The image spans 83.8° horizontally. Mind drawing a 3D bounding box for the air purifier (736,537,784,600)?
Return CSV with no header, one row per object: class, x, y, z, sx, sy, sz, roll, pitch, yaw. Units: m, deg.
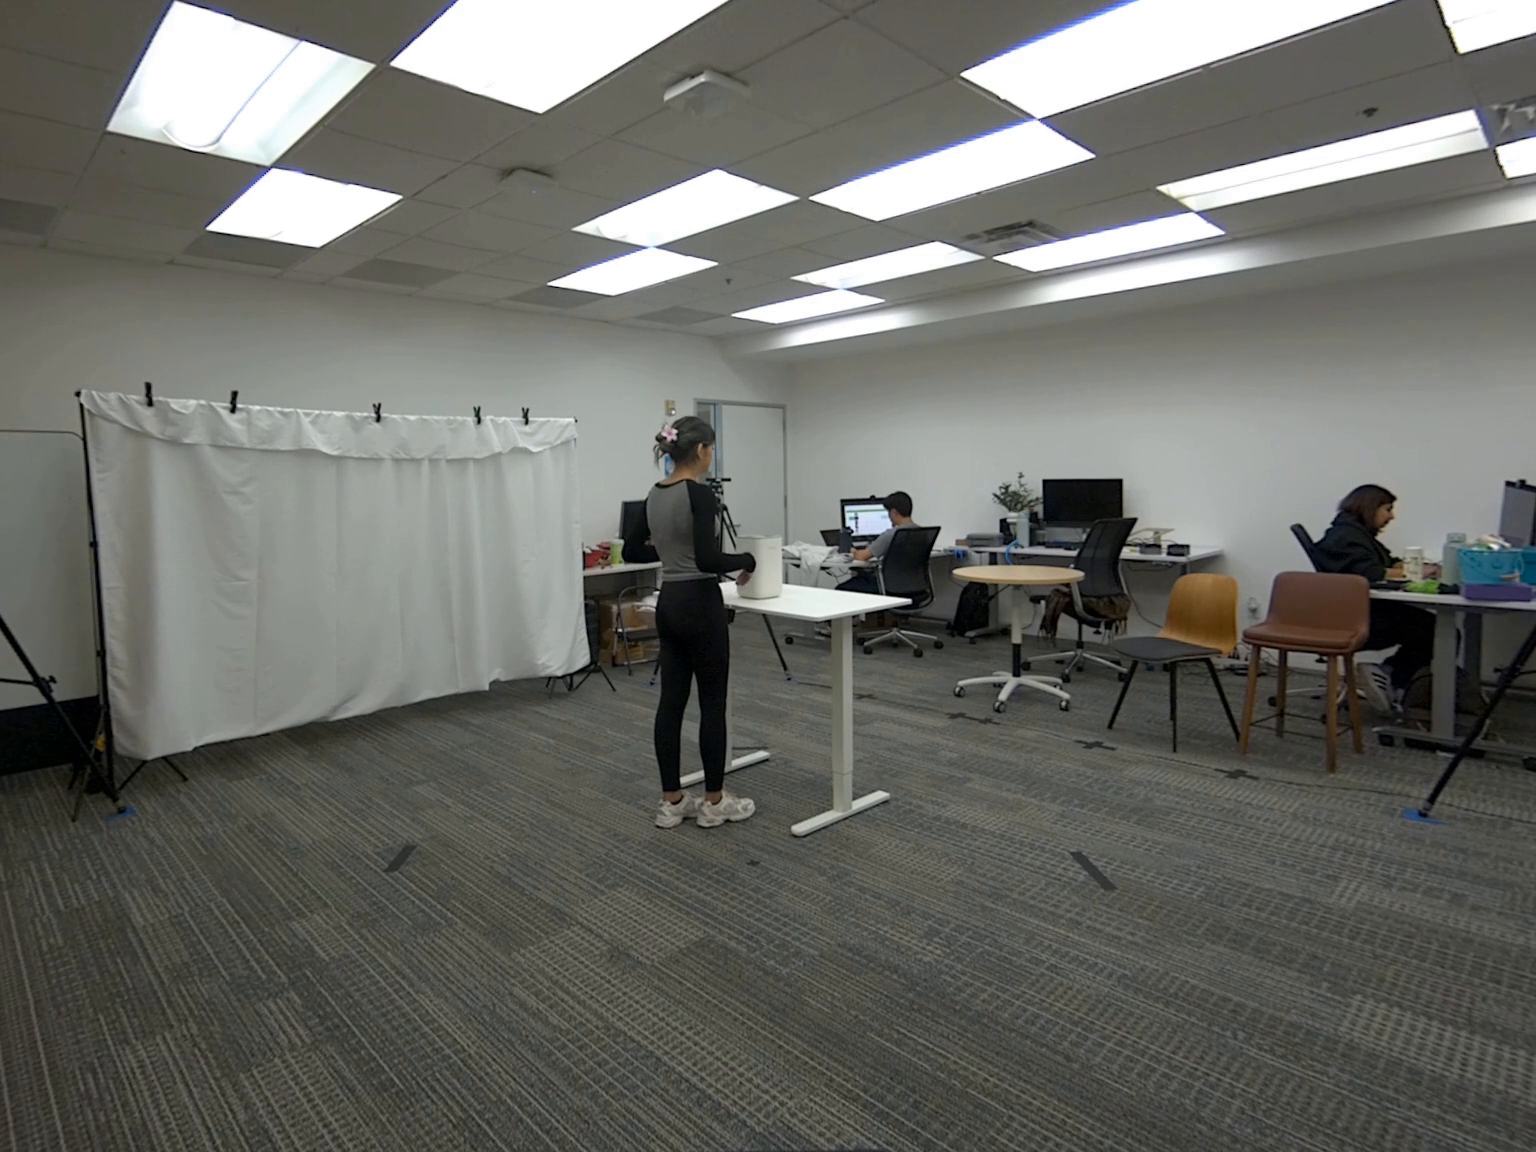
air purifier,-0.041,-0.042,3.714,0.166,0.264,0.177,-4,6,-42
